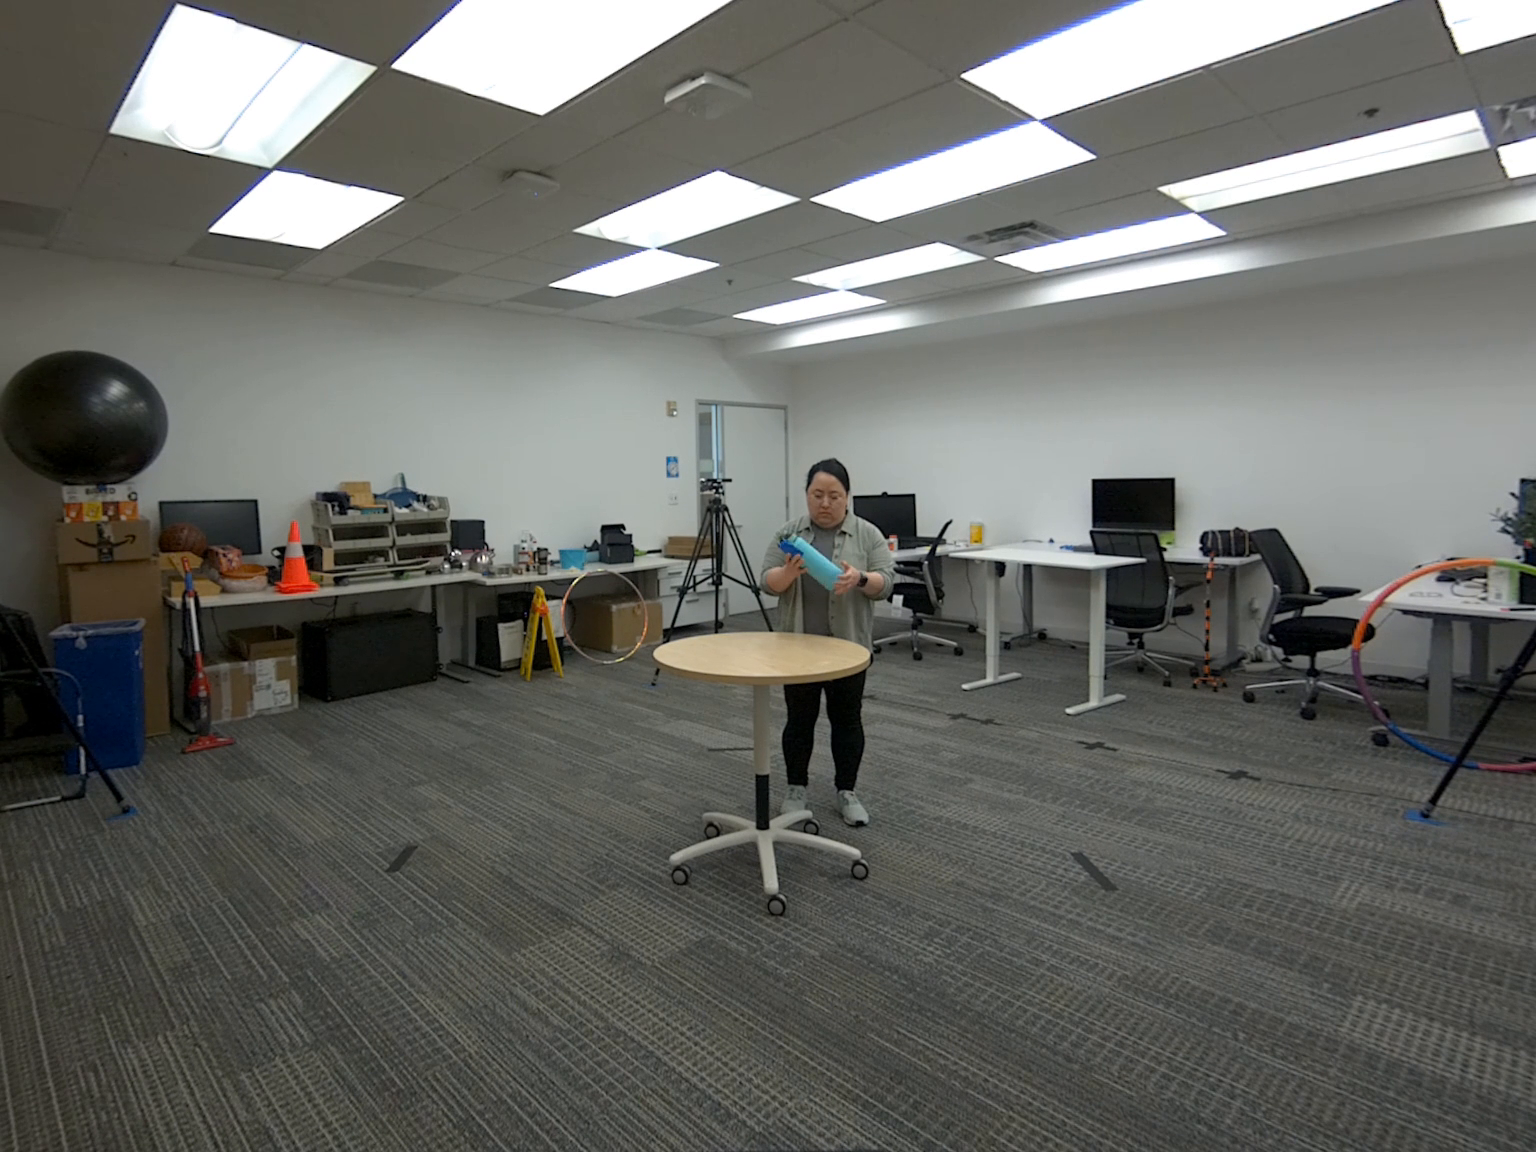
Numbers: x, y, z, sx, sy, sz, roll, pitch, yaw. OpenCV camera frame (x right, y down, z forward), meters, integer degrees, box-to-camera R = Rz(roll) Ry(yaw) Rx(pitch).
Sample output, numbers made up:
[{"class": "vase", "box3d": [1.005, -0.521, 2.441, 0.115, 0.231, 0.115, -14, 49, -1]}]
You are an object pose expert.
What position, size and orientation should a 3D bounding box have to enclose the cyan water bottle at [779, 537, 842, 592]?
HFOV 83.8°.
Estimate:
[{"class": "cyan water bottle", "box3d": [0.161, -0.061, 3.262, 0.282, 0.092, 0.093, 38, 2, -3]}]
